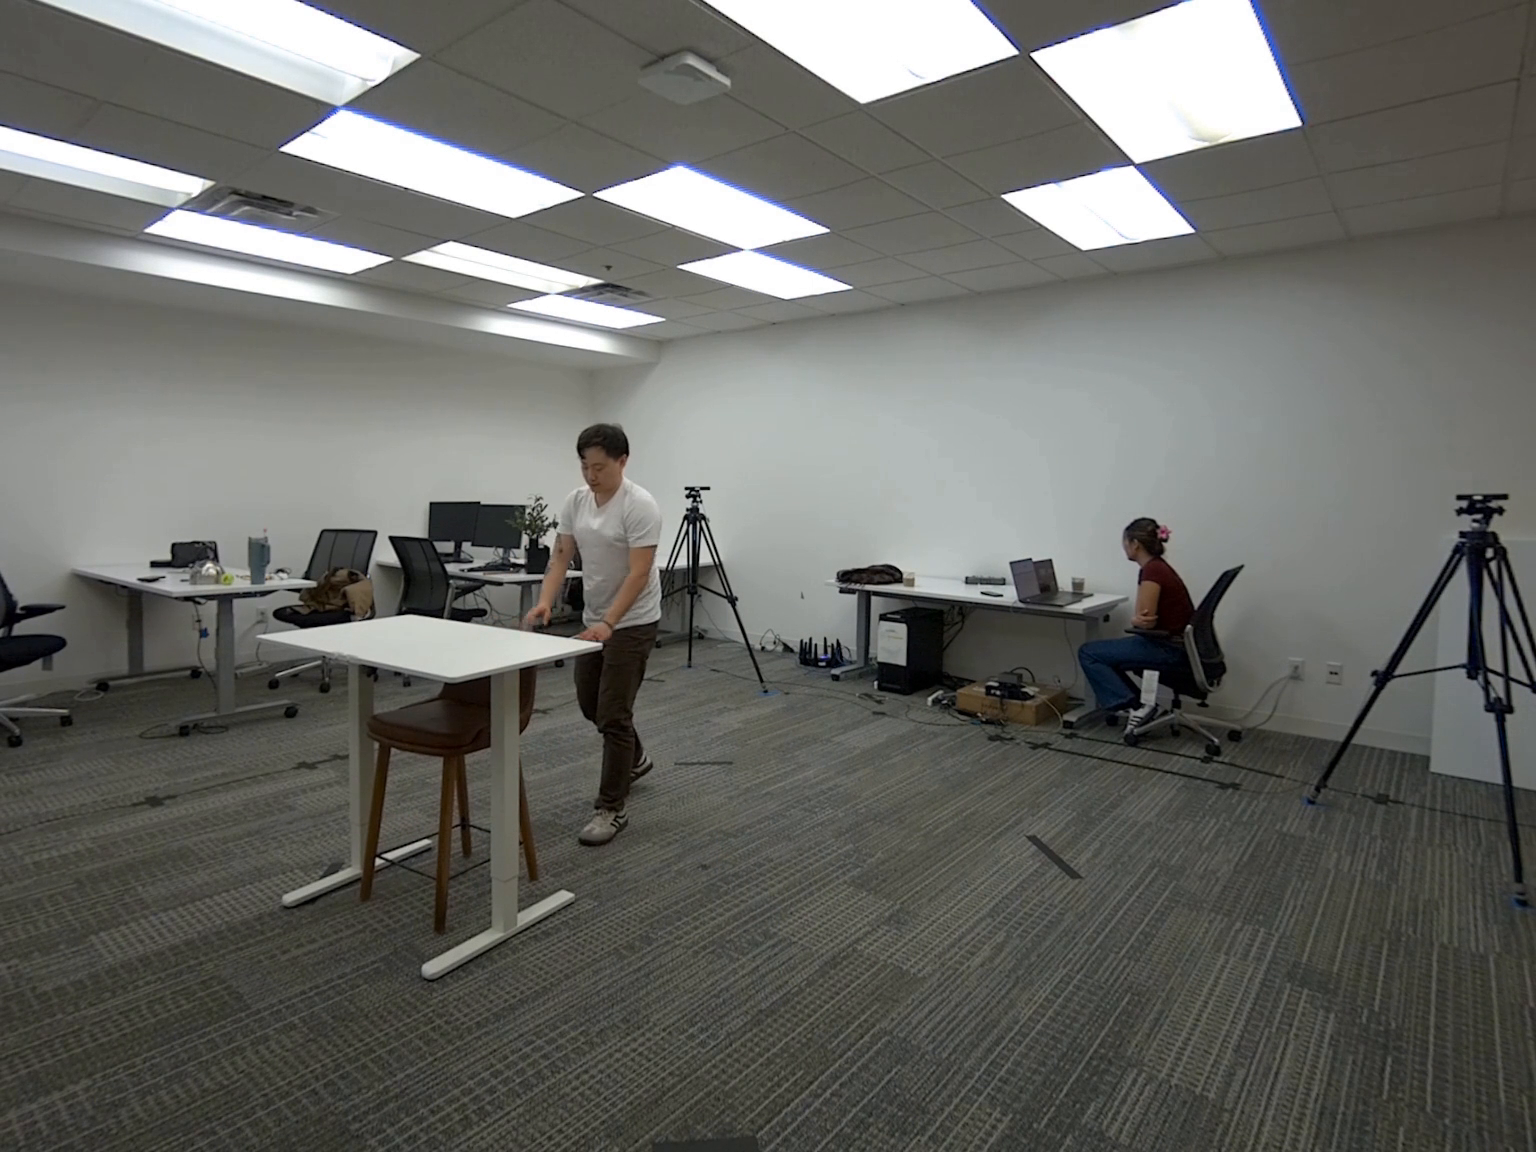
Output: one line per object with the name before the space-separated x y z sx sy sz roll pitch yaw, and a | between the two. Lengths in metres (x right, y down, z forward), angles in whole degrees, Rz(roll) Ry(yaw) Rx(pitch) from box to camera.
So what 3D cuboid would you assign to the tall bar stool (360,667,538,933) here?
tall bar stool | -1.077 0.638 2.909 0.470 0.889 0.454 3 2 32
